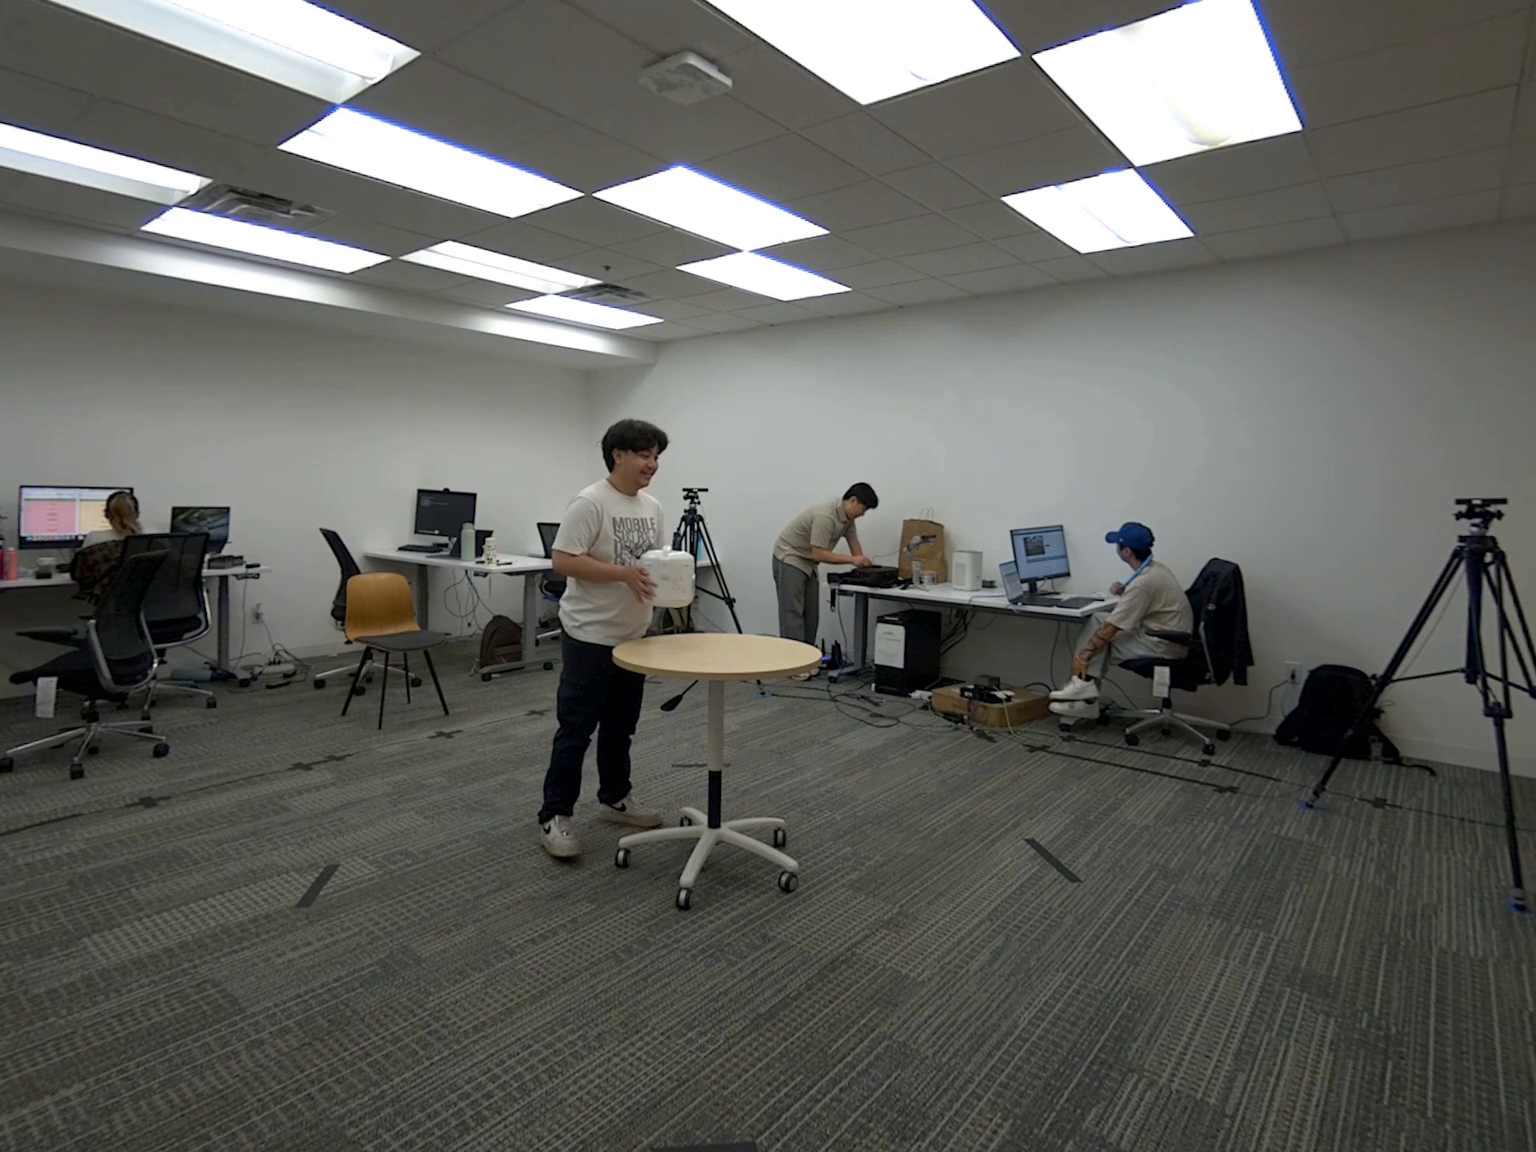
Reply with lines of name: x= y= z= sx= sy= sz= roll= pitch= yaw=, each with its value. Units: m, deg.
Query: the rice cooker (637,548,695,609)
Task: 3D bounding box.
rice cooker: x=-0.403 y=-0.003 z=3.287 sx=0.218 sy=0.232 sz=0.221 roll=2 pitch=4 yaw=0
